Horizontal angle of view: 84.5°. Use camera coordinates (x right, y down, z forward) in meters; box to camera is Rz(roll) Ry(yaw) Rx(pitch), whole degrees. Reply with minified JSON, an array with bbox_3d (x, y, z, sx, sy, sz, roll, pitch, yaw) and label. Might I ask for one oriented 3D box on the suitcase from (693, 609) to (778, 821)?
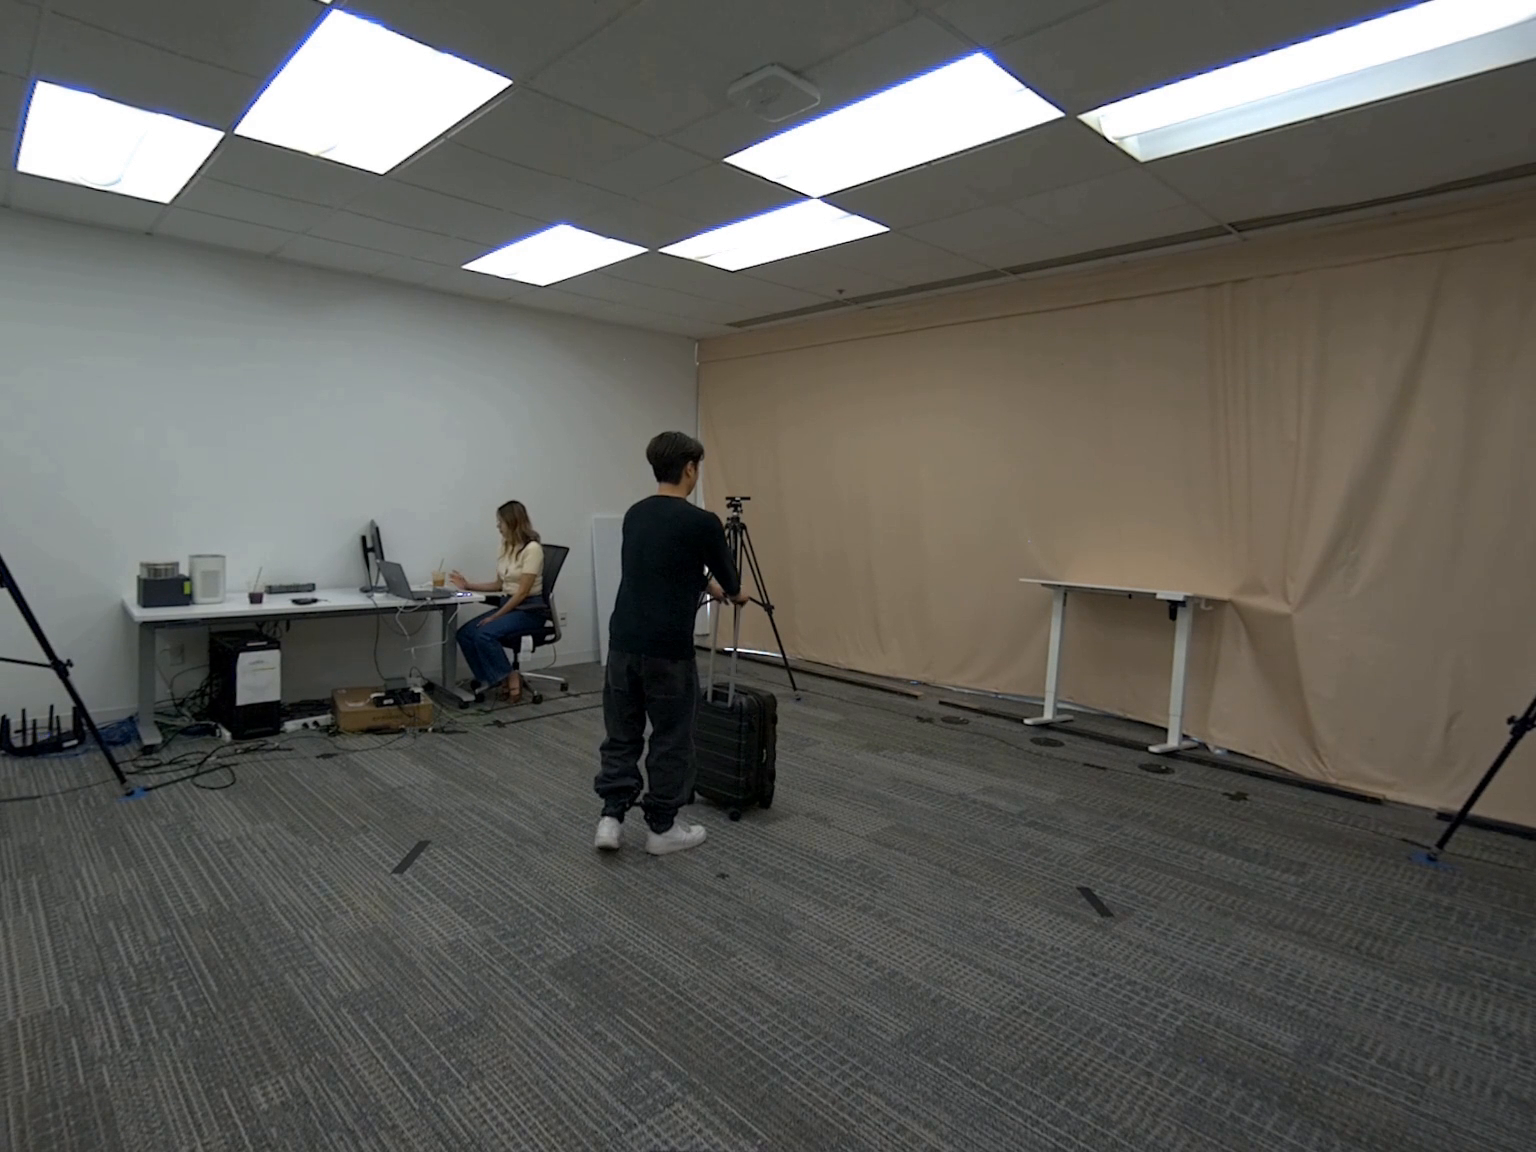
[{"bbox_3d":[-0.151,0.568,3.824,0.394,0.978,0.251,5,1,40],"label":"suitcase"}]
